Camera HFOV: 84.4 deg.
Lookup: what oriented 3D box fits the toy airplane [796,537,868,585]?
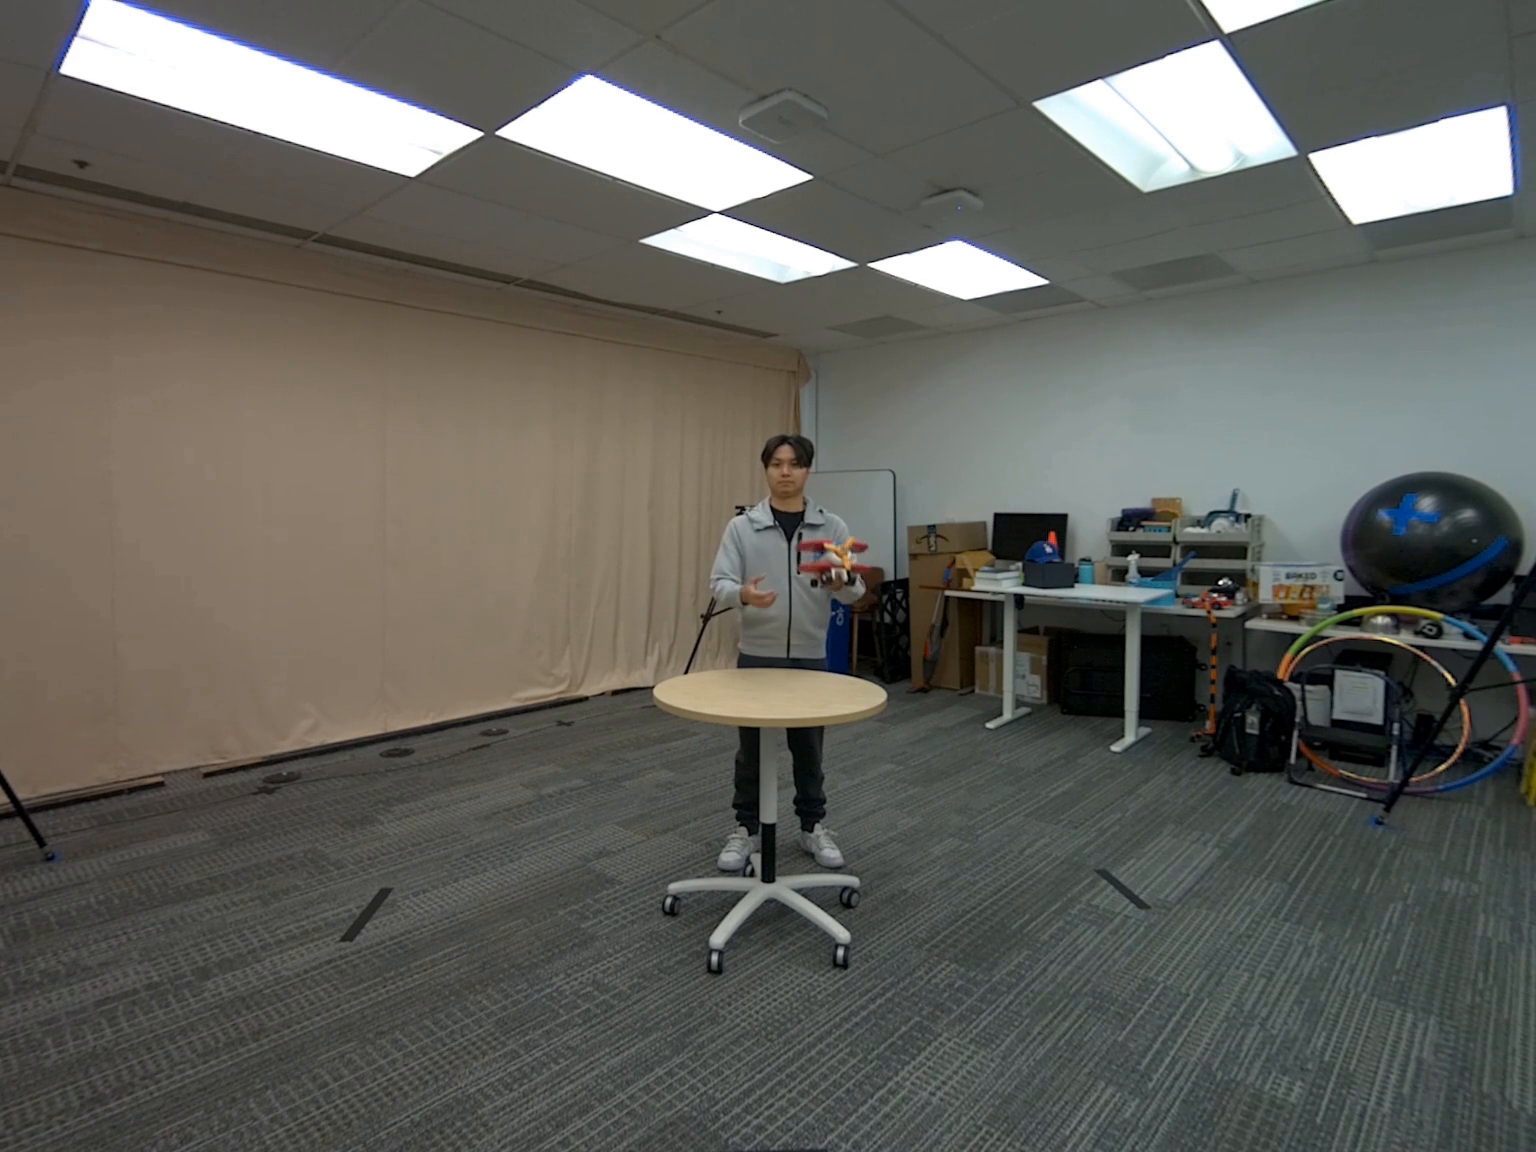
[{"bbox_3d":[0.187,-0.044,2.886,0.243,0.157,0.267,1,-3,-45],"label":"toy airplane"}]
